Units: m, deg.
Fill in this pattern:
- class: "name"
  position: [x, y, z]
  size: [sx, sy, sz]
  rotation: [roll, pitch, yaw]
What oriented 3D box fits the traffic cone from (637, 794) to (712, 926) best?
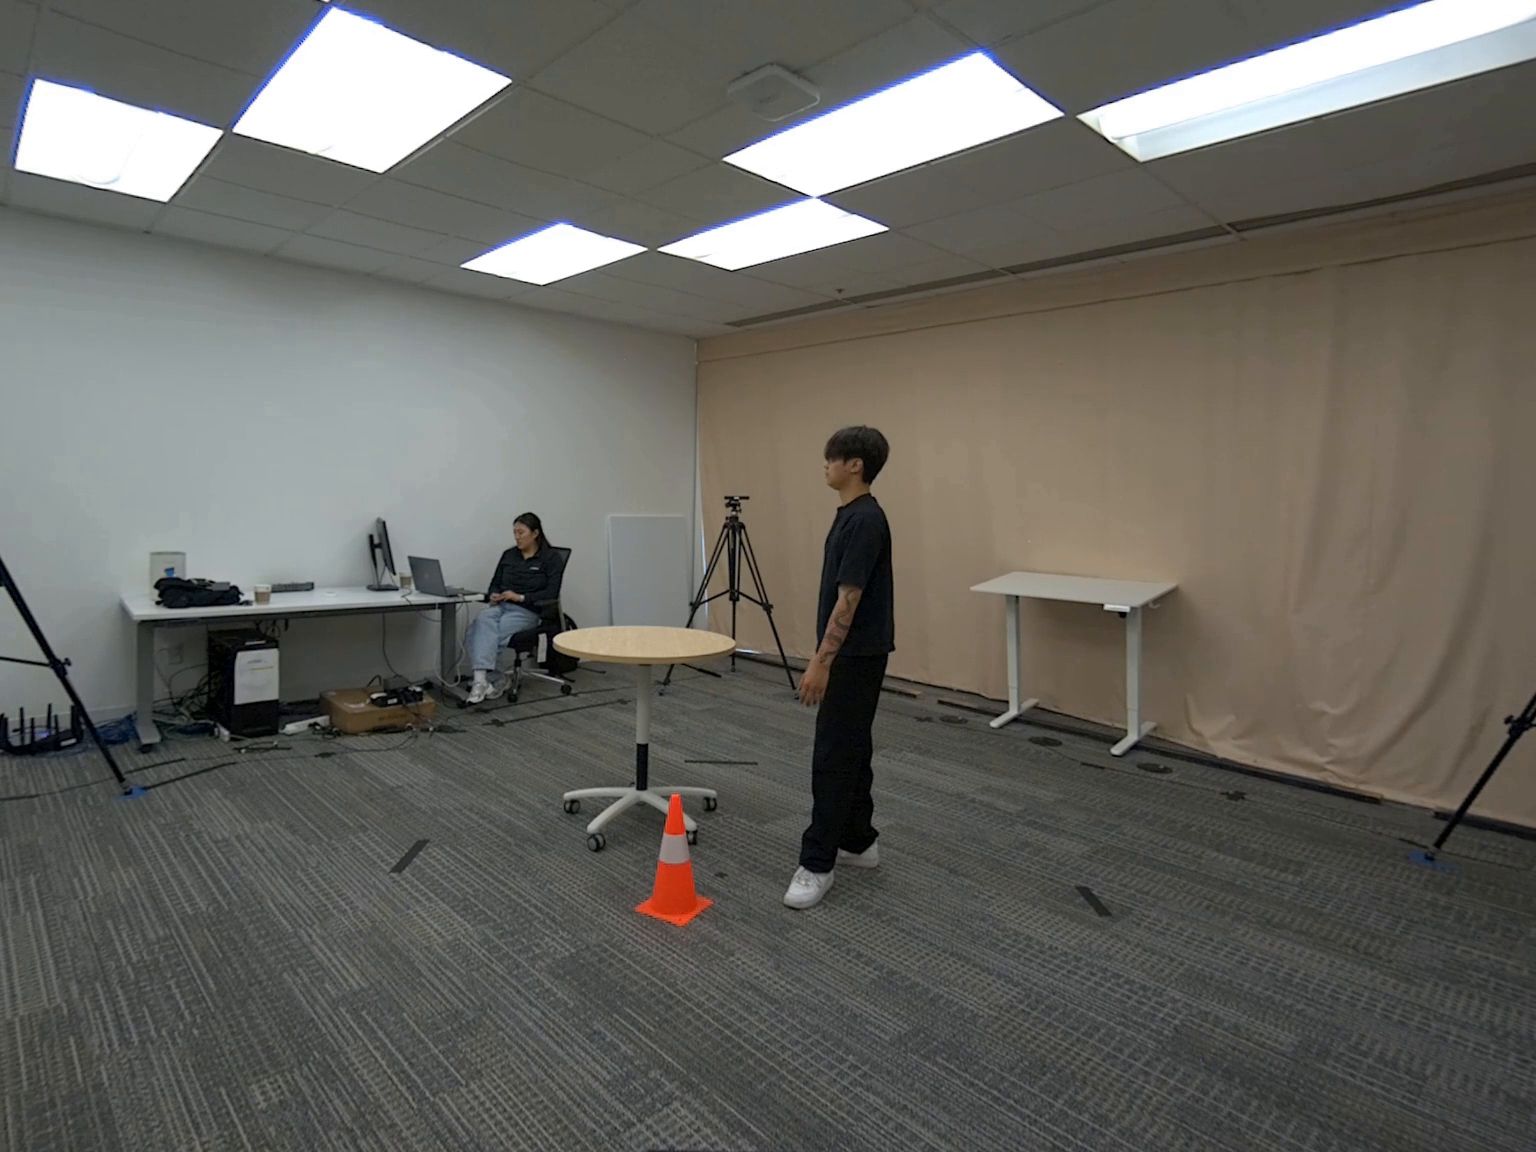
- class: "traffic cone"
  position: [-0.318, 0.942, 2.855]
  size: [0.208, 0.383, 0.201]
  rotation: [4, 3, 30]
